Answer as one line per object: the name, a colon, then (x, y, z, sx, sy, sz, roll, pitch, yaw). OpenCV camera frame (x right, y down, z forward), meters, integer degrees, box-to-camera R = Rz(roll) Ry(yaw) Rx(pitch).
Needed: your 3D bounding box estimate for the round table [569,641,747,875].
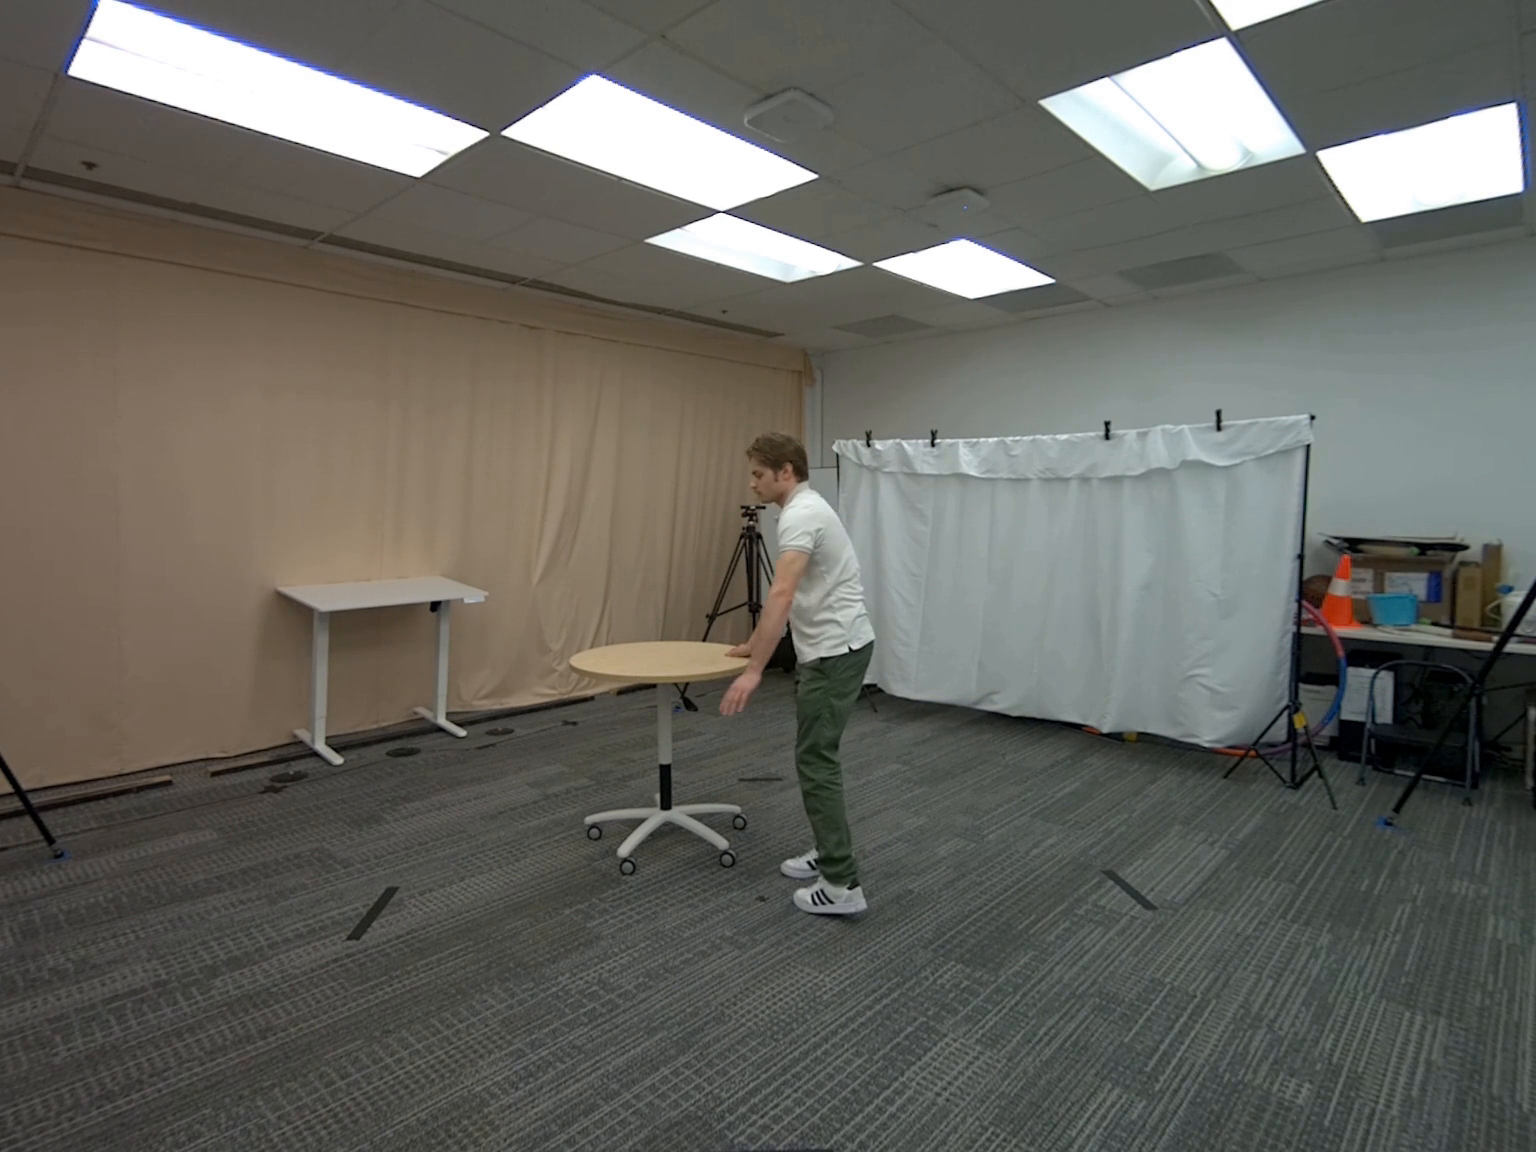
round table: (-0.424, 0.722, 3.481, 0.763, 0.792, 0.766, -1, 3, -2)
